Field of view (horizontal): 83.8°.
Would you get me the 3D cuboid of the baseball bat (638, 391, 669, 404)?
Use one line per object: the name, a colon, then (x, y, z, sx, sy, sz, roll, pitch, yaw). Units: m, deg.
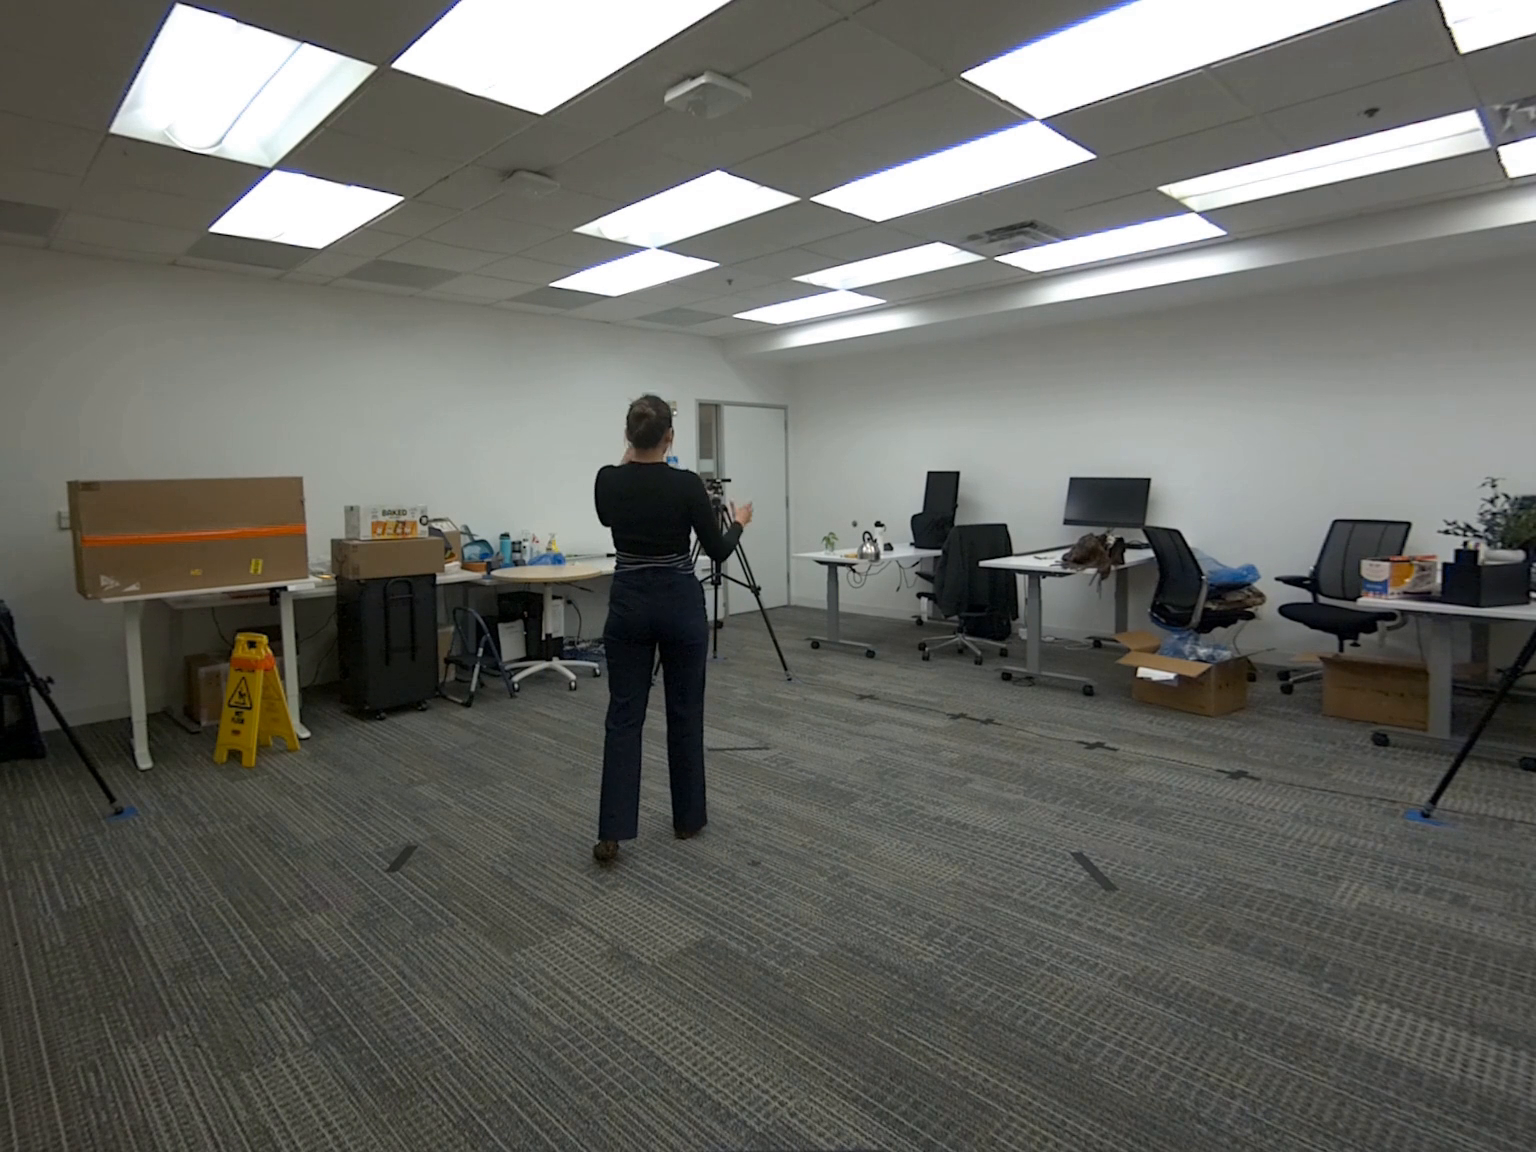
baseball bat: (-0.472, -0.470, 3.637, 0.089, 0.542, 0.089, -5, 2, -1)
